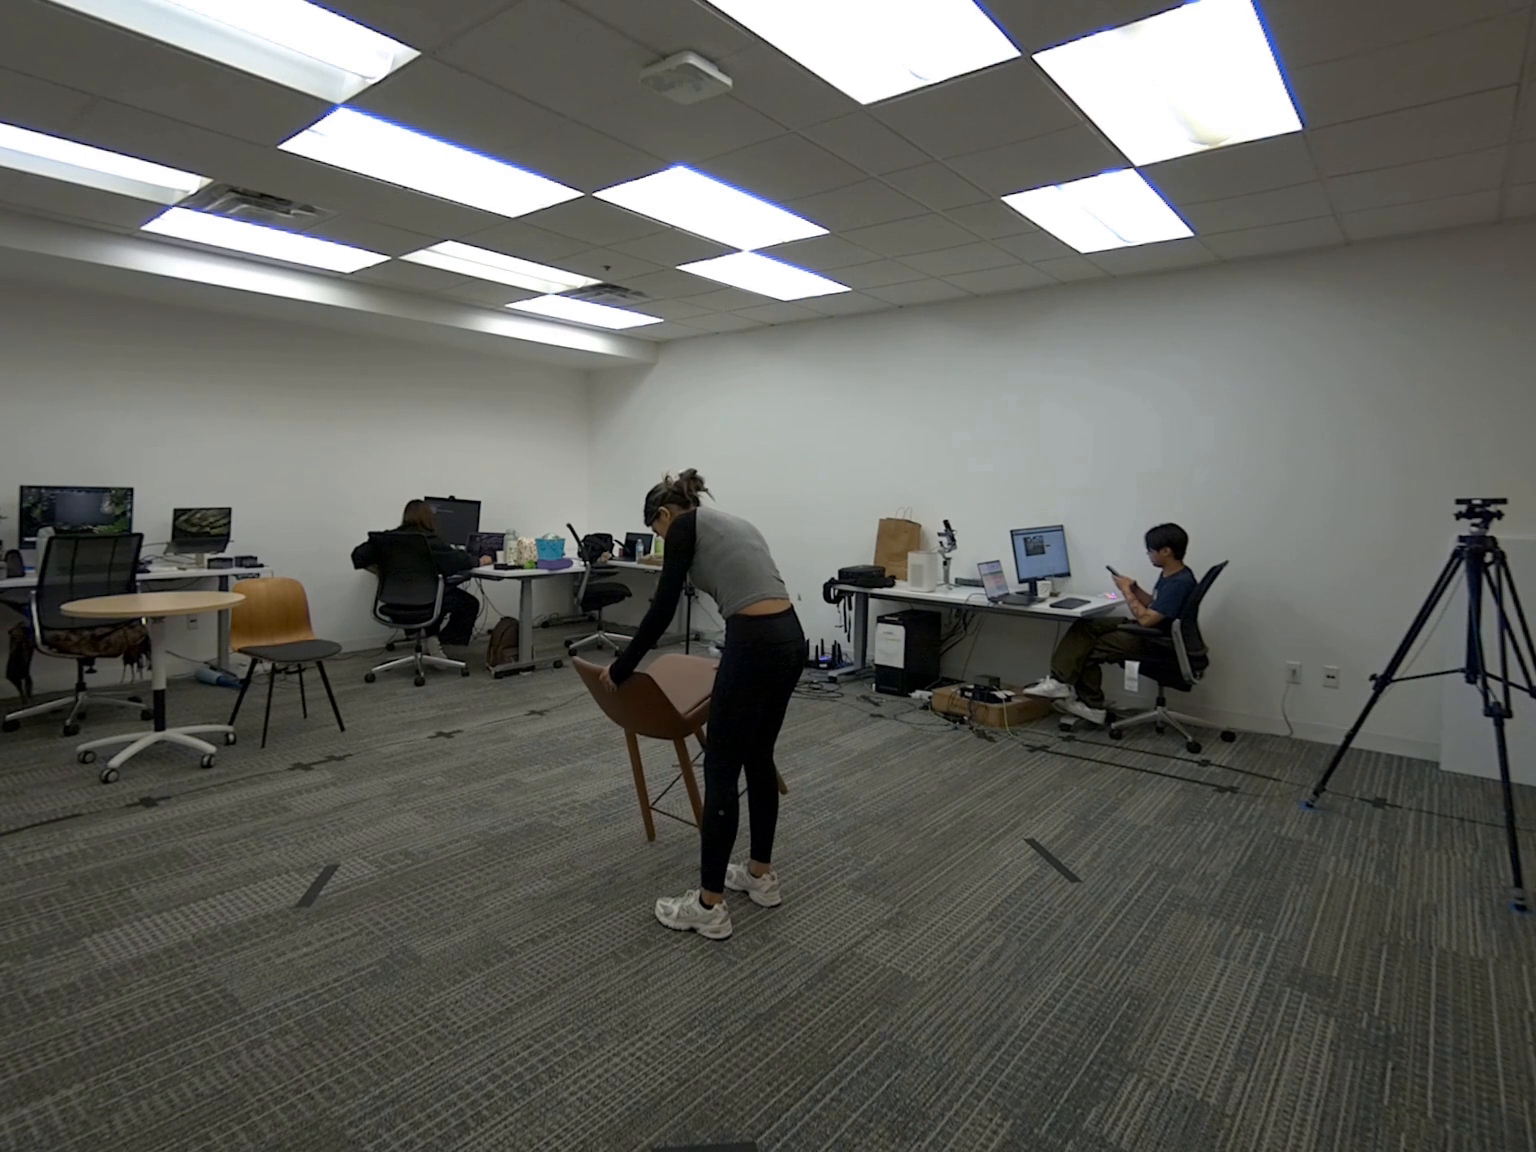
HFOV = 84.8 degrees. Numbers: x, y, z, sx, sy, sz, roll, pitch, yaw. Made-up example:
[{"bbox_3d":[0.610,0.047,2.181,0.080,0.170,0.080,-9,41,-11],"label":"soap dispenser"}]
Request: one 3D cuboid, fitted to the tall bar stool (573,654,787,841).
[{"bbox_3d":[-0.345,0.571,3.218,0.472,0.866,0.464,5,32,42],"label":"tall bar stool"}]
